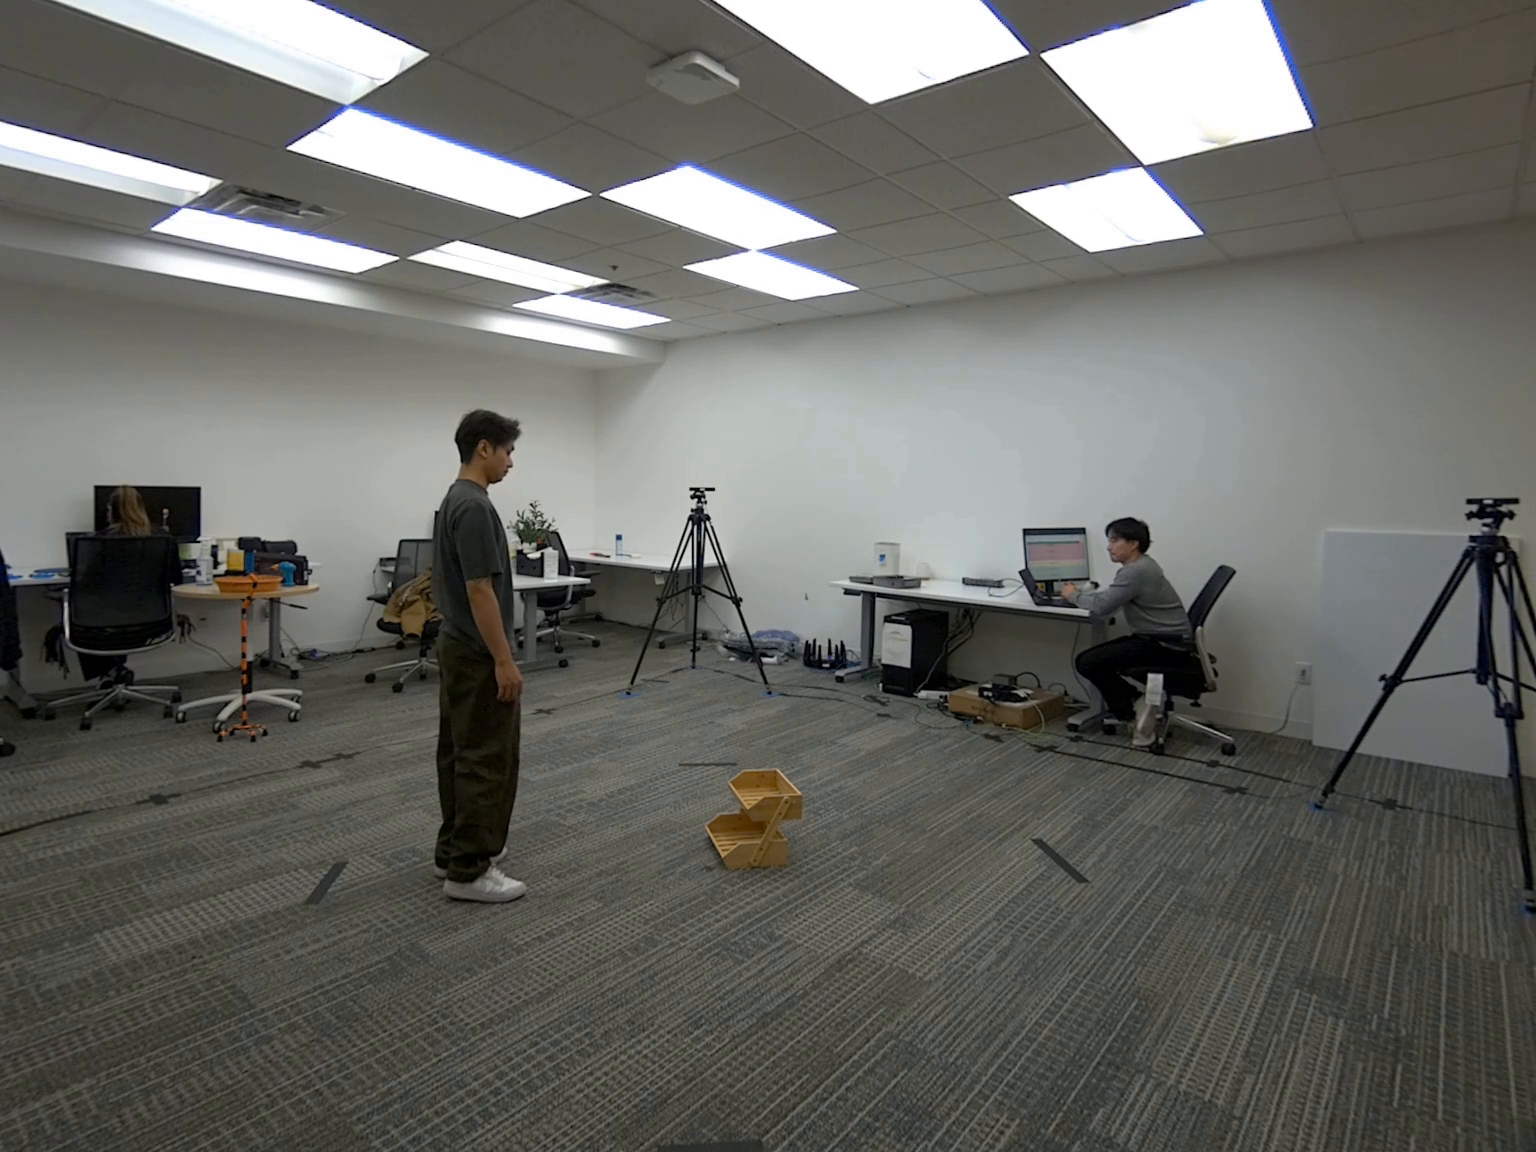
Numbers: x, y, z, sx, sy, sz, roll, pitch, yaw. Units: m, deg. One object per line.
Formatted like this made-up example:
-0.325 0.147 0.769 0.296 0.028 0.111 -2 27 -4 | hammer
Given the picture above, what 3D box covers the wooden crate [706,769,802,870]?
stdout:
-0.076 0.923 3.269 0.297 0.272 0.331 0 5 -16 | wooden crate
